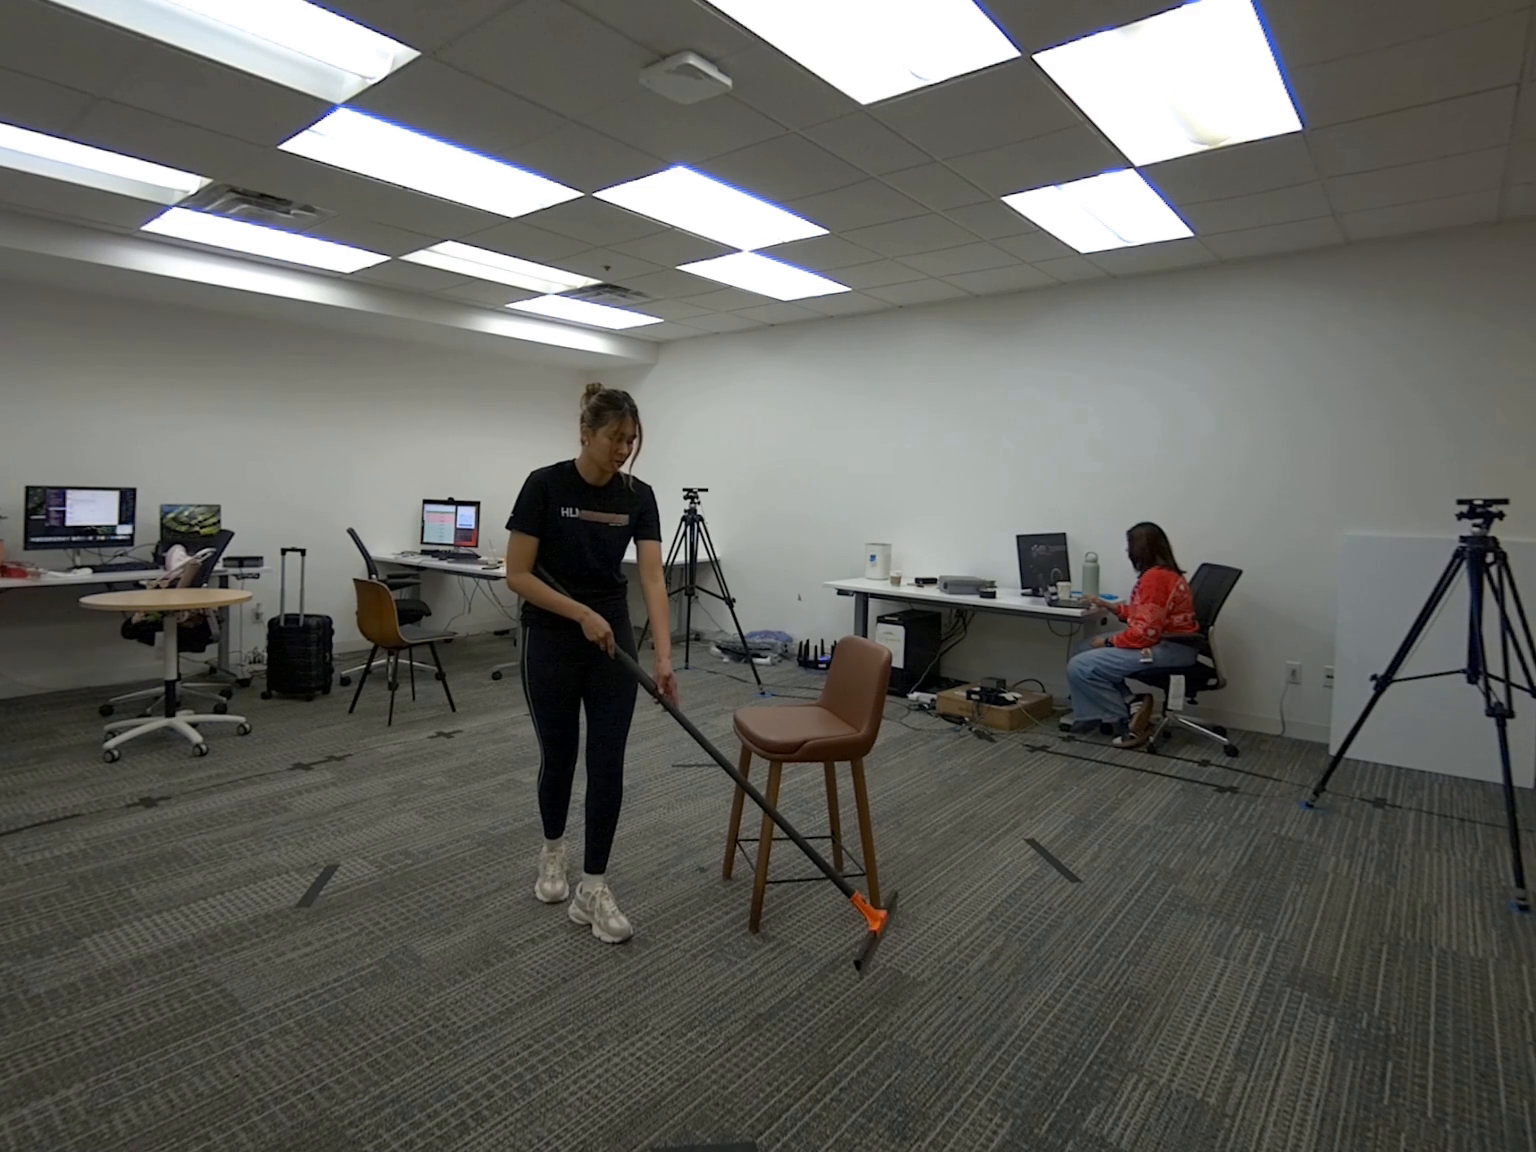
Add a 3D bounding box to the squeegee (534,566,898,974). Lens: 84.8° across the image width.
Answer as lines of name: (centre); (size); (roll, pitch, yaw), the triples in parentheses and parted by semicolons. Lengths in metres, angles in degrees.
squeegee: (-0.249, 0.421, 2.426); (1.576, 0.053, 0.428); (42, 16, 17)
